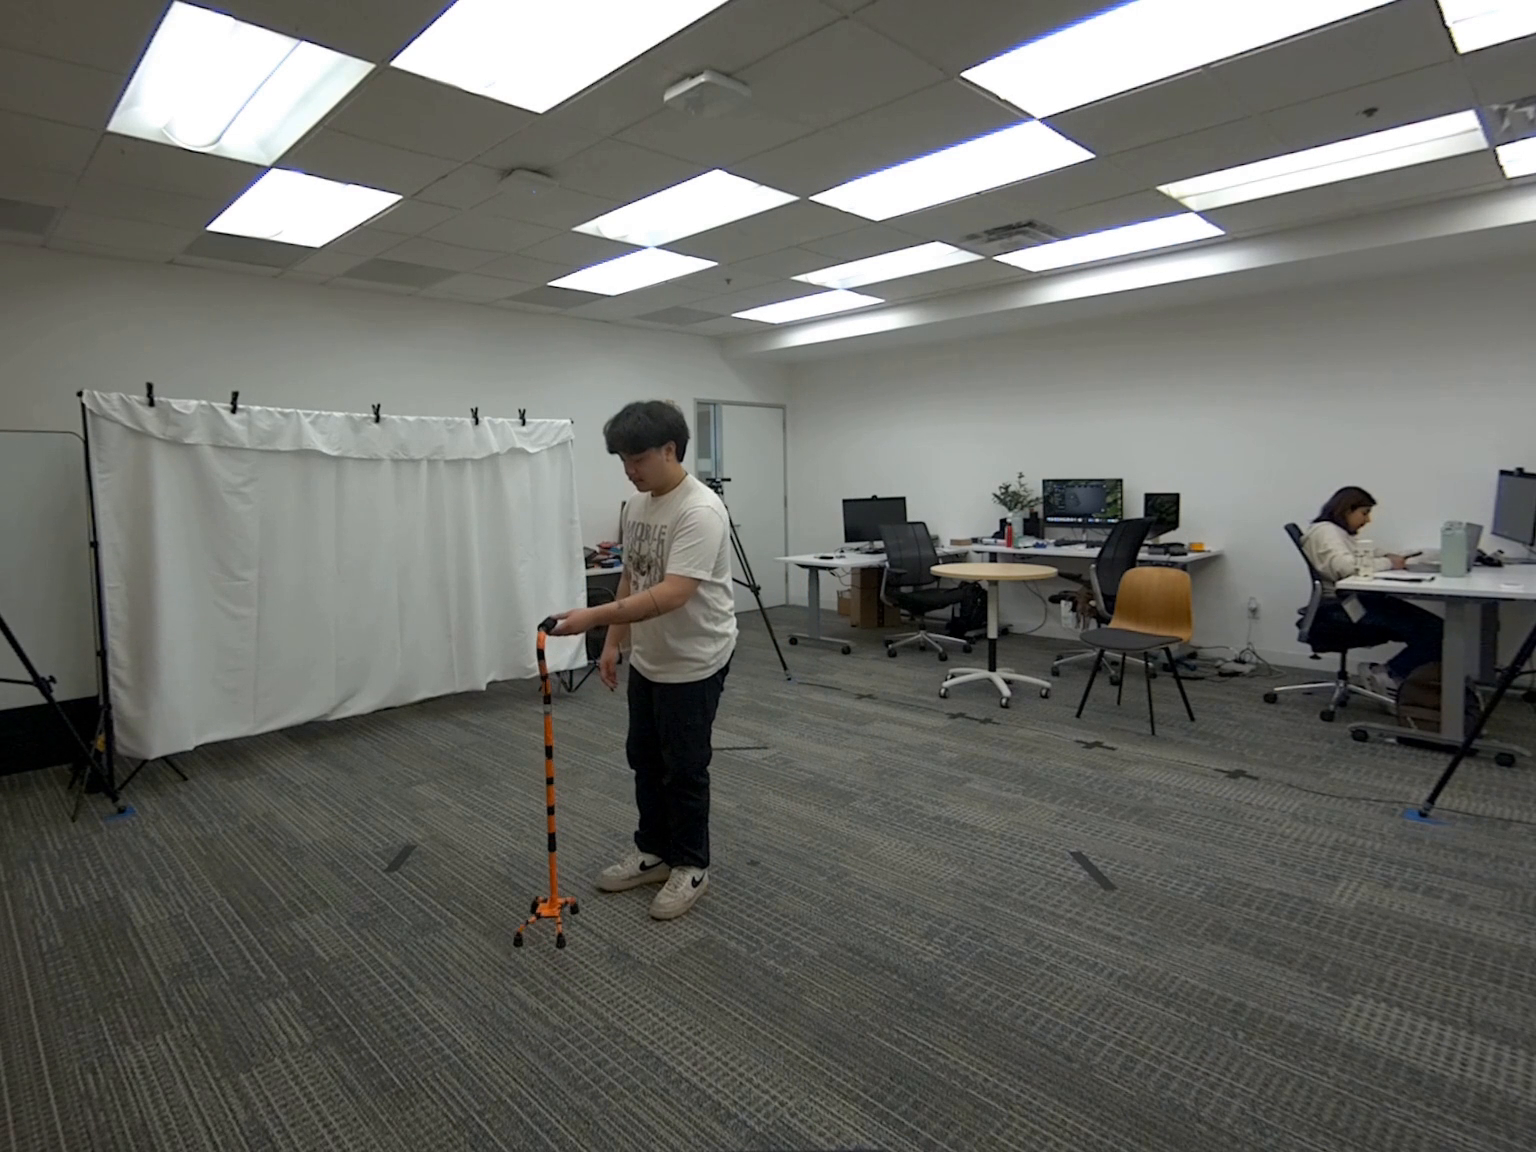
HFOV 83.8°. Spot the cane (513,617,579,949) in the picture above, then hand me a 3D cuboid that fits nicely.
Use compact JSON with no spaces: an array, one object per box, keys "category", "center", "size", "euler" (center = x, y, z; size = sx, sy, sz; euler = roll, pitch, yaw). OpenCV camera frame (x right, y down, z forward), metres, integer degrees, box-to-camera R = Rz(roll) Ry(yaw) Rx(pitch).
[{"category":"cane","center":[-0.644,0.597,2.466],"size":[0.151,0.904,0.207],"euler":[0,5,-2]}]
